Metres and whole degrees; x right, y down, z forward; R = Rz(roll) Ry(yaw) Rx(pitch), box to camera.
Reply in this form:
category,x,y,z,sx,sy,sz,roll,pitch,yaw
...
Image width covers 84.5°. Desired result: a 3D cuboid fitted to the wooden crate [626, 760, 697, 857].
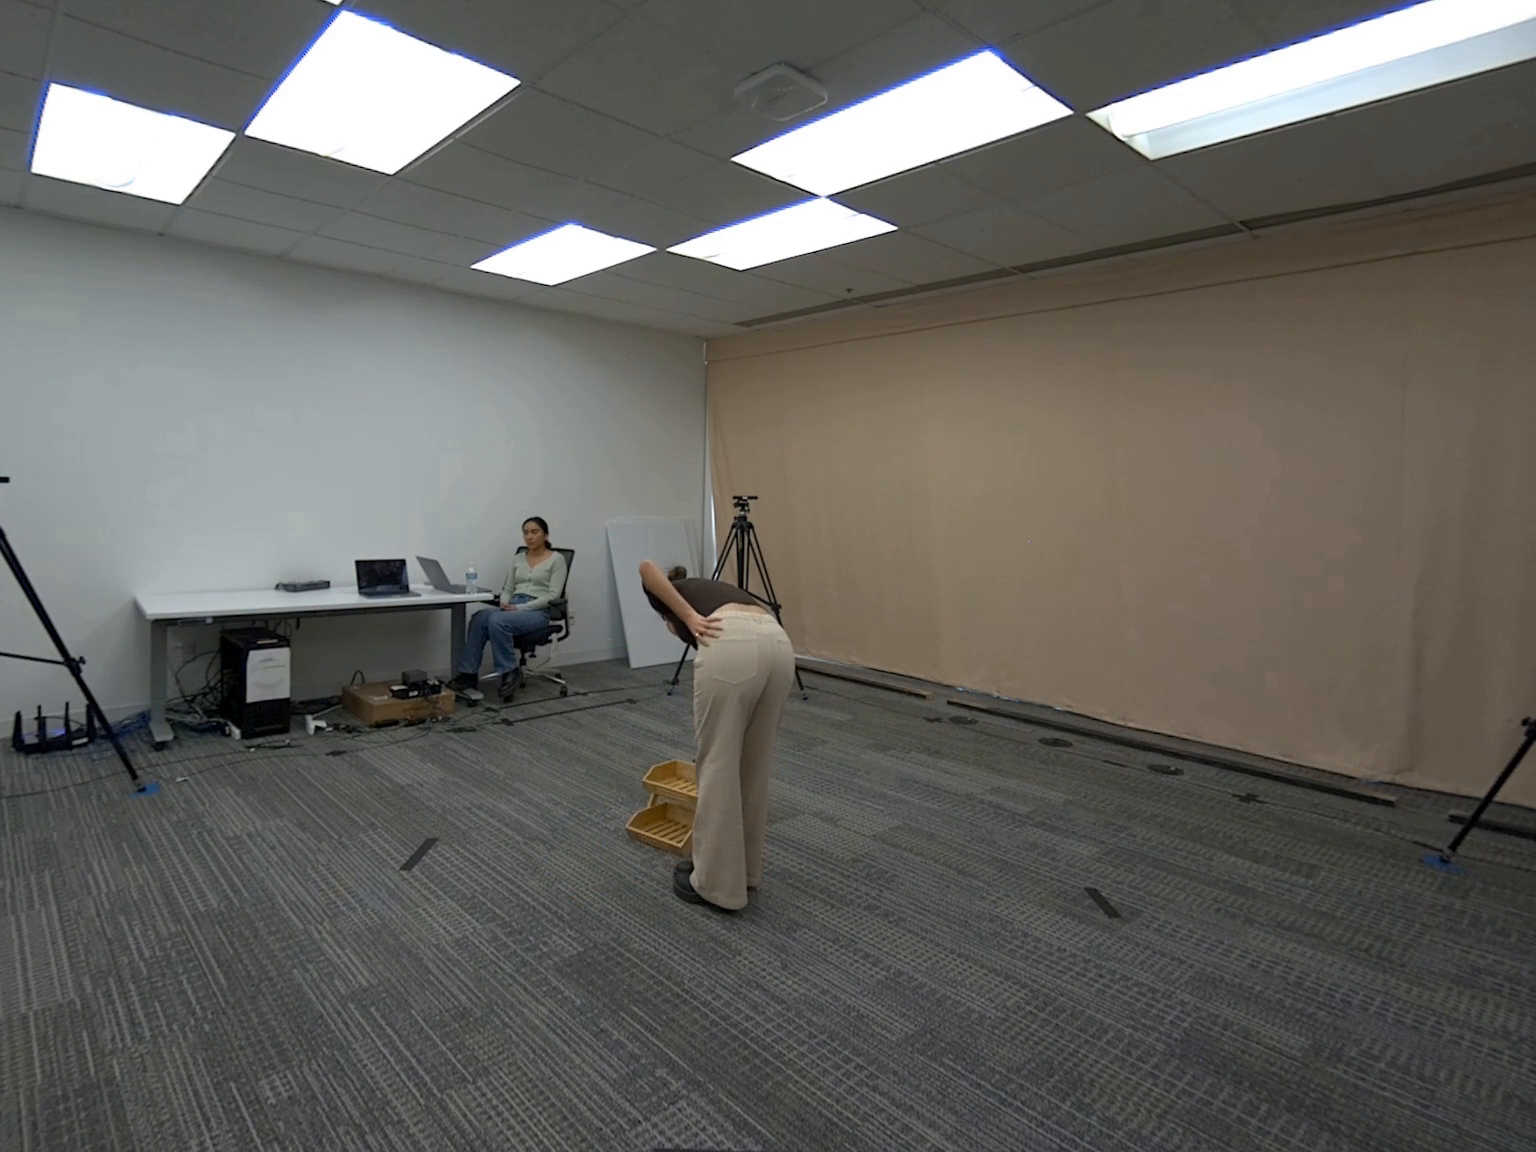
category,x,y,z,sx,sy,sz,roll,pitch,yaw
wooden crate,-0.369,0.935,3.425,0.332,0.273,0.295,5,4,36
